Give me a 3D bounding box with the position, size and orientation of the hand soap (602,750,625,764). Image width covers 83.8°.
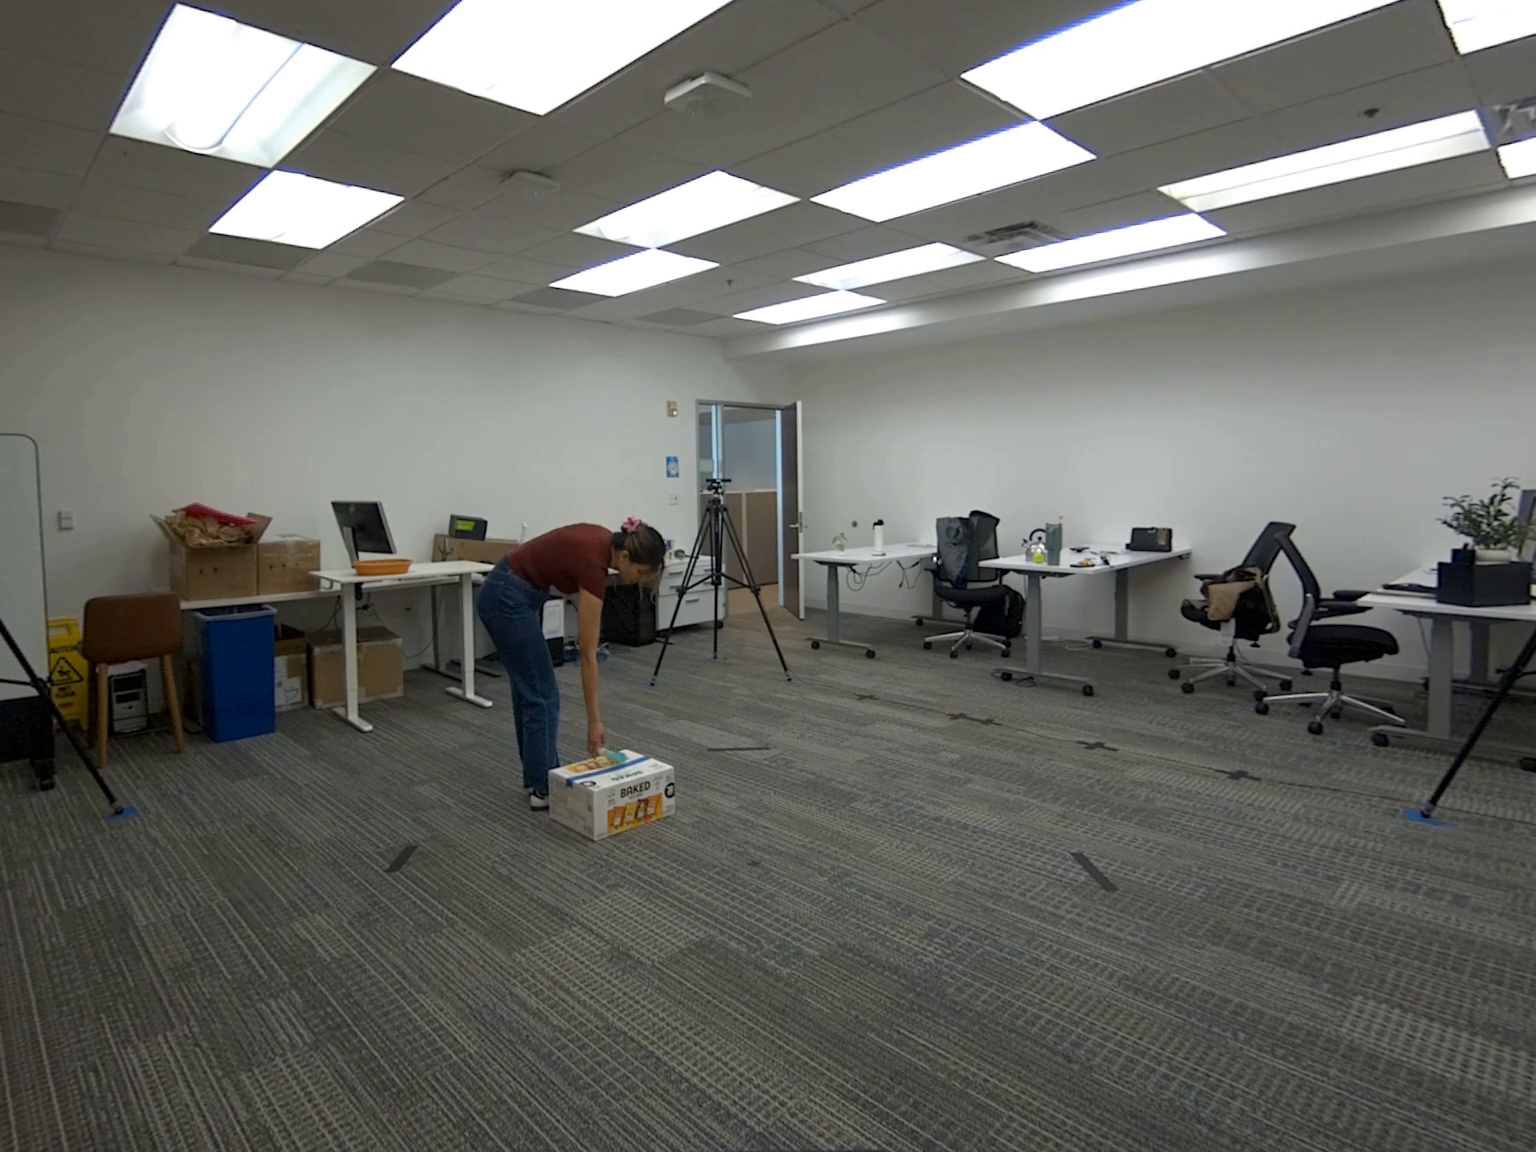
[{"bbox_3d":[-0.670,0.752,3.608,0.087,0.044,0.162,-2,-24,38],"label":"hand soap"}]
